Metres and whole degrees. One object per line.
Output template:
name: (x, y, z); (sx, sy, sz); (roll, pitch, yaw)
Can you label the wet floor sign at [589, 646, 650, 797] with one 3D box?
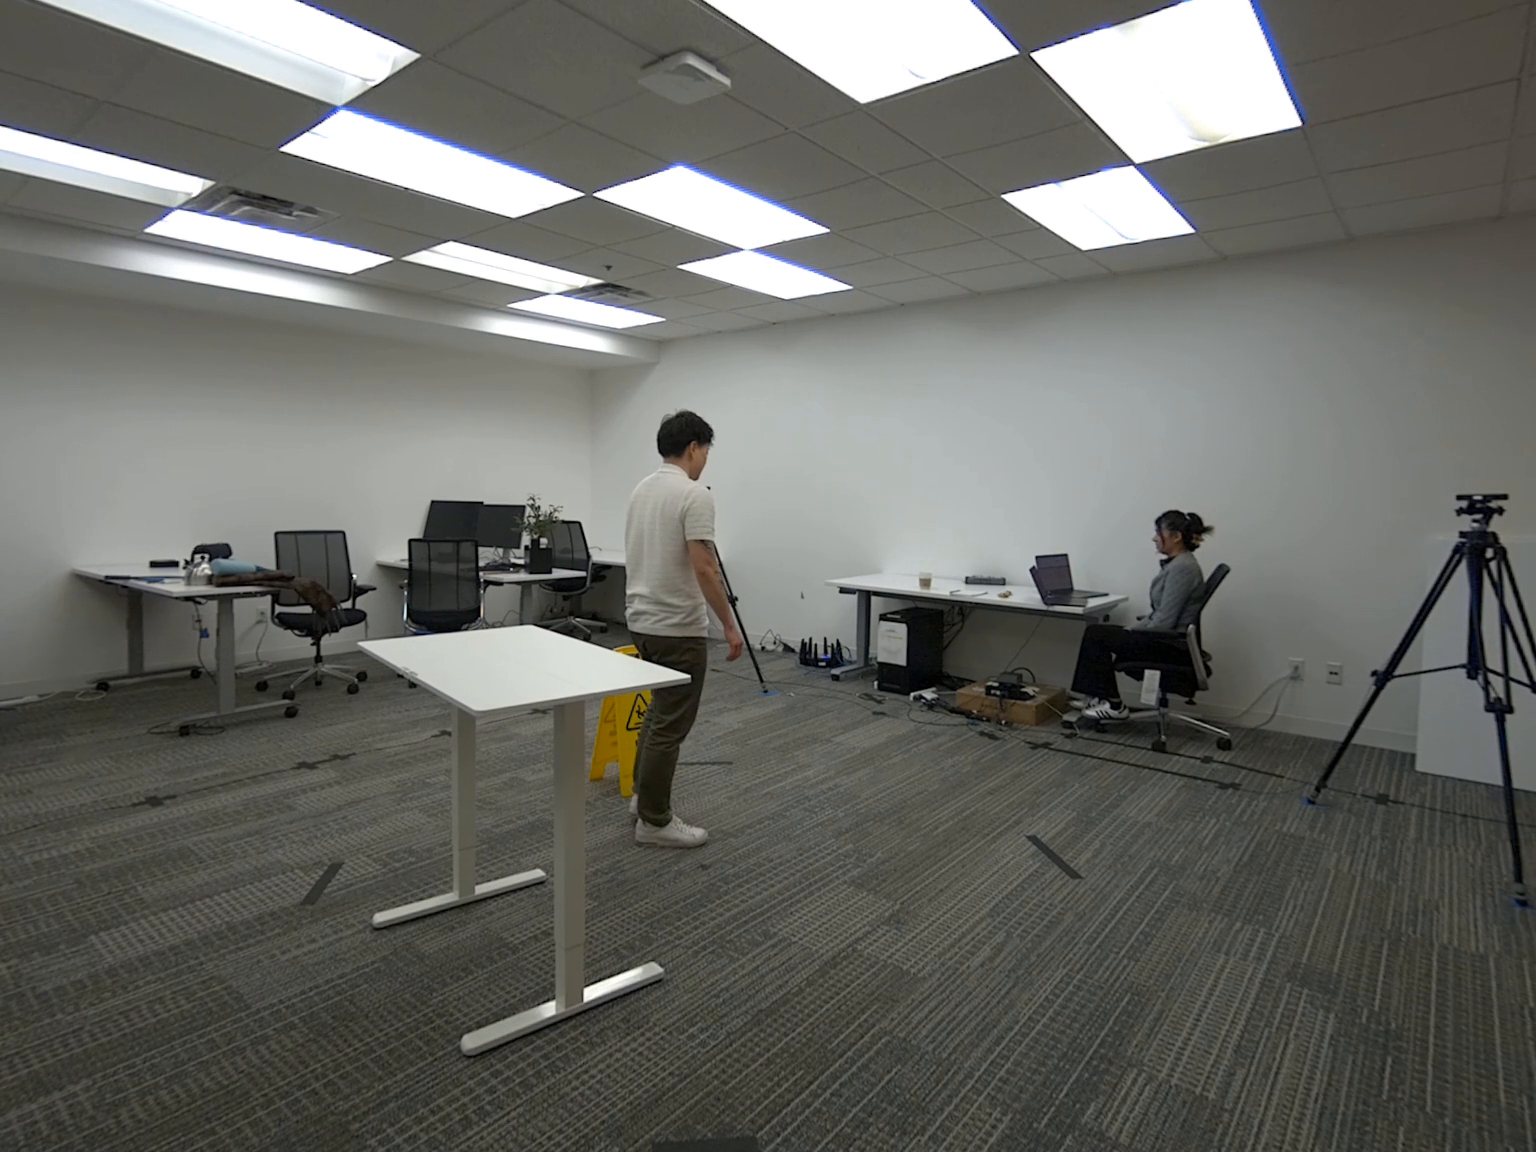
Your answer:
wet floor sign: (-0.662, 0.651, 3.999); (0.273, 0.645, 0.299); (-1, 2, -42)
